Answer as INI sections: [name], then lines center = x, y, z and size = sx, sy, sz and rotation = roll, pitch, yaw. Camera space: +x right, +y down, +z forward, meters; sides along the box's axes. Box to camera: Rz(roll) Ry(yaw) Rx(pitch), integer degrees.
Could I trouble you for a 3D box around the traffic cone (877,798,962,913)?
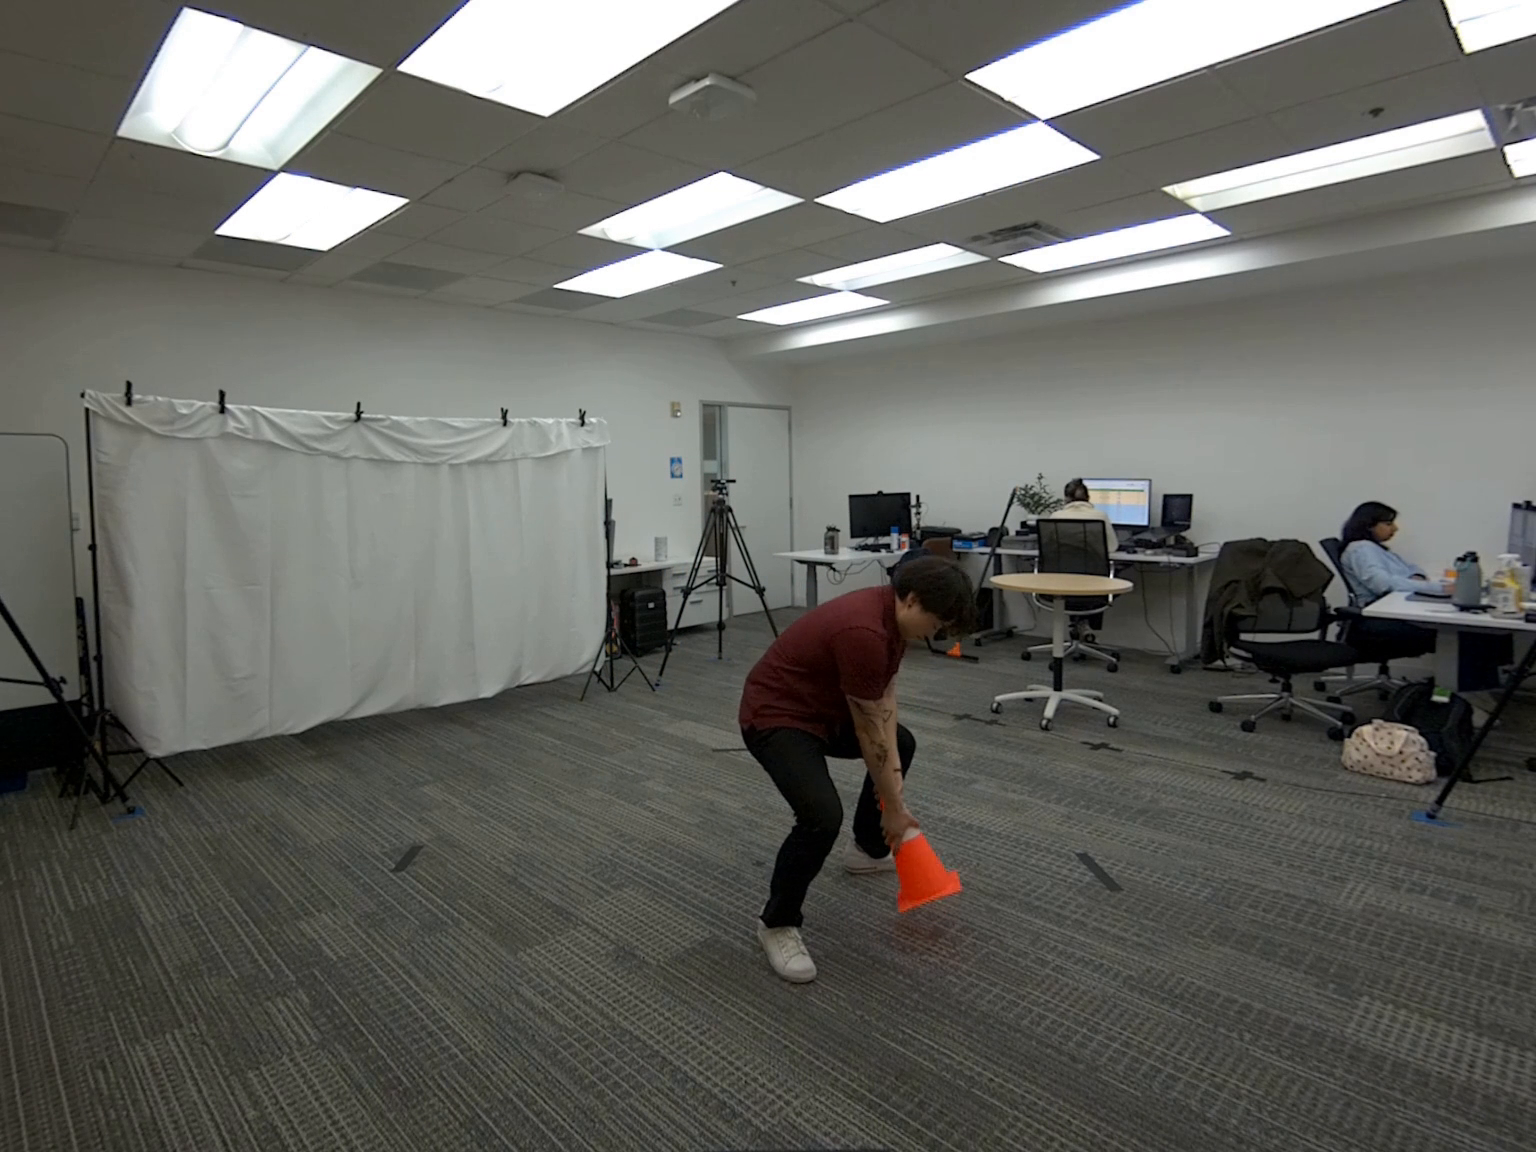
[traffic cone]
center = 0.430, 0.793, 2.639
size = 0.206, 0.389, 0.199
rotation = -23, -10, 11
